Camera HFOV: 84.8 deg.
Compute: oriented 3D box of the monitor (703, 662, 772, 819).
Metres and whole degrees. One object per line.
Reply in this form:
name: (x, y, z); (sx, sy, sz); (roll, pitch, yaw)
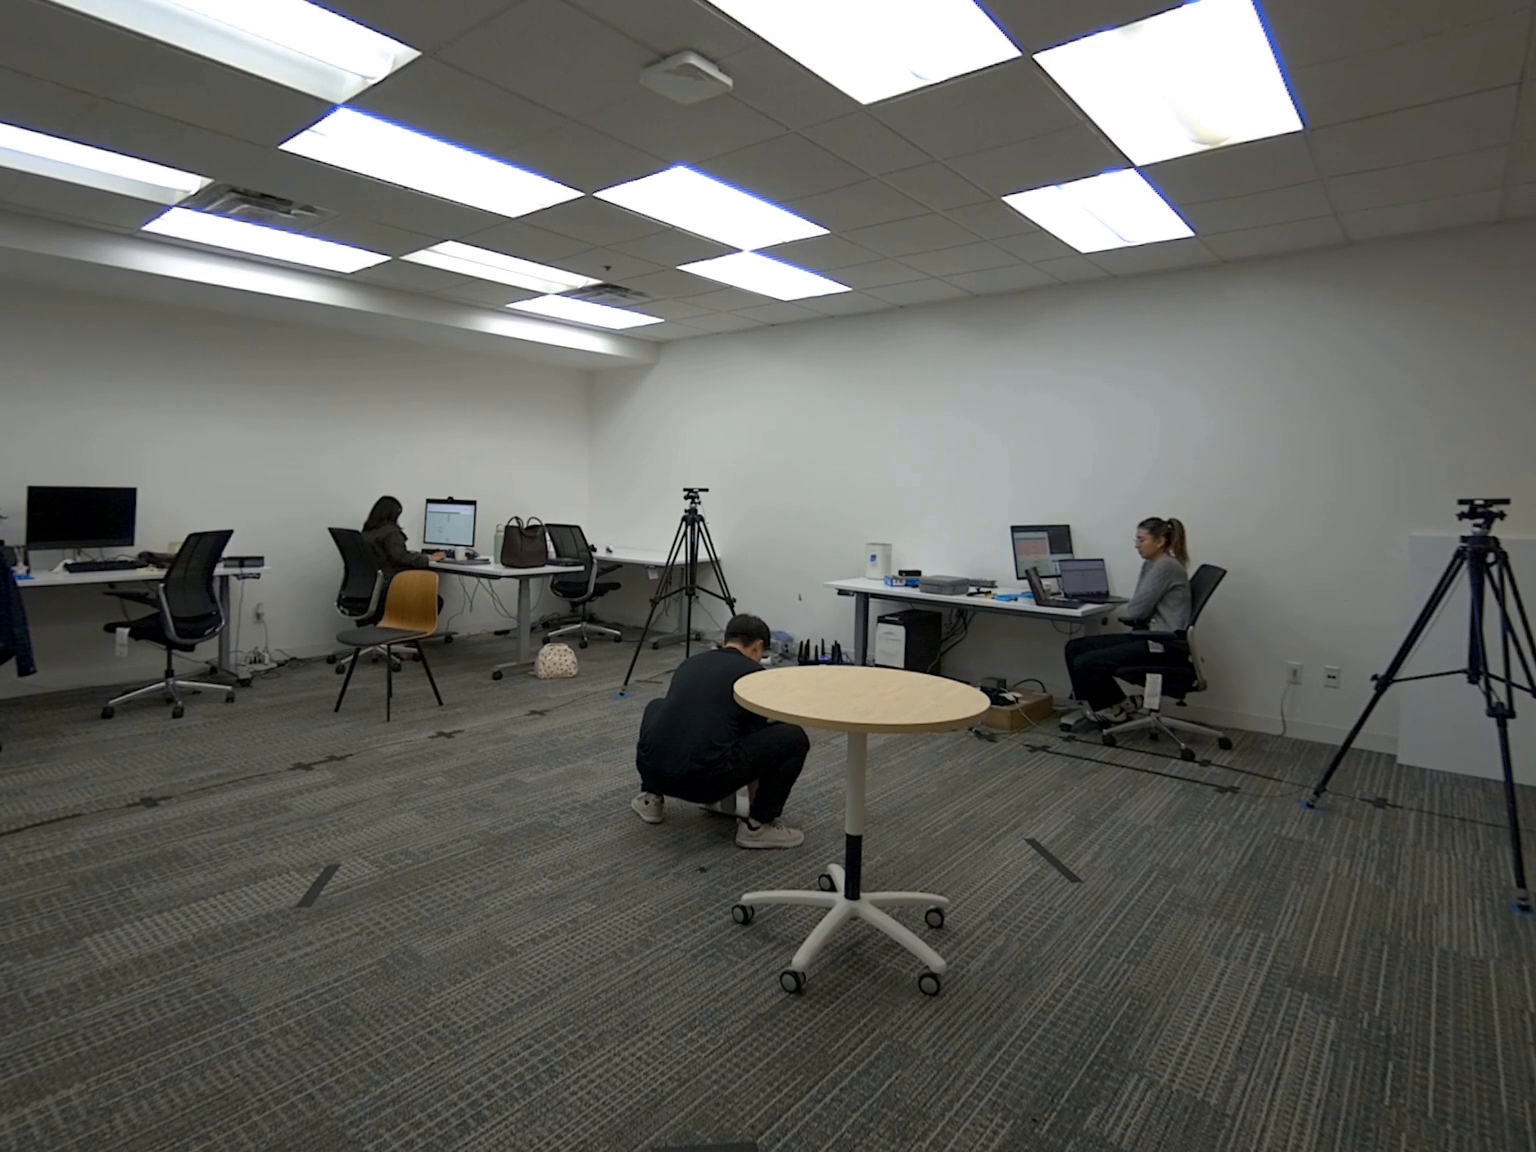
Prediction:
monitor: (-0.142, 0.719, 3.649); (0.553, 0.521, 0.183); (4, 4, 25)
